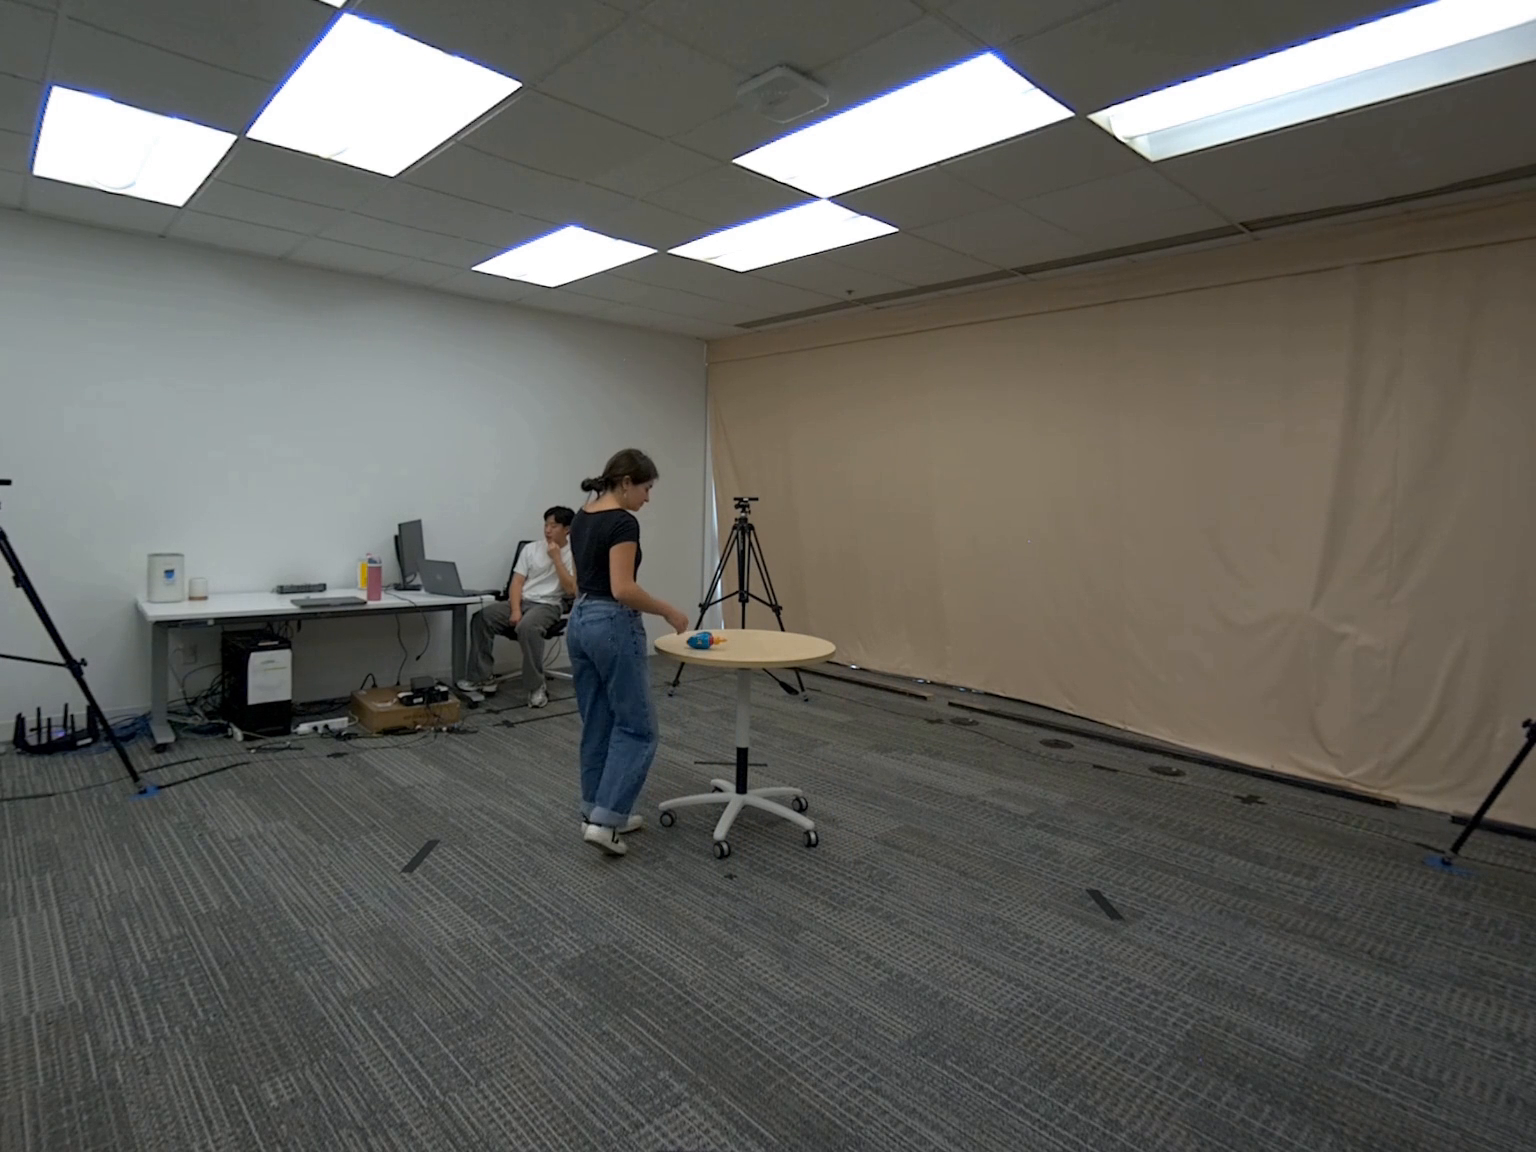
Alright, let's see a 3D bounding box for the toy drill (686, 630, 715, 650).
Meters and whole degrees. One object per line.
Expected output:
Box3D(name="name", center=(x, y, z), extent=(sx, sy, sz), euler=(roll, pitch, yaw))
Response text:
Box3D(name="toy drill", center=(-0.250, 0.264, 3.433), extent=(0.171, 0.061, 0.145), euler=(-4, 2, 8))
